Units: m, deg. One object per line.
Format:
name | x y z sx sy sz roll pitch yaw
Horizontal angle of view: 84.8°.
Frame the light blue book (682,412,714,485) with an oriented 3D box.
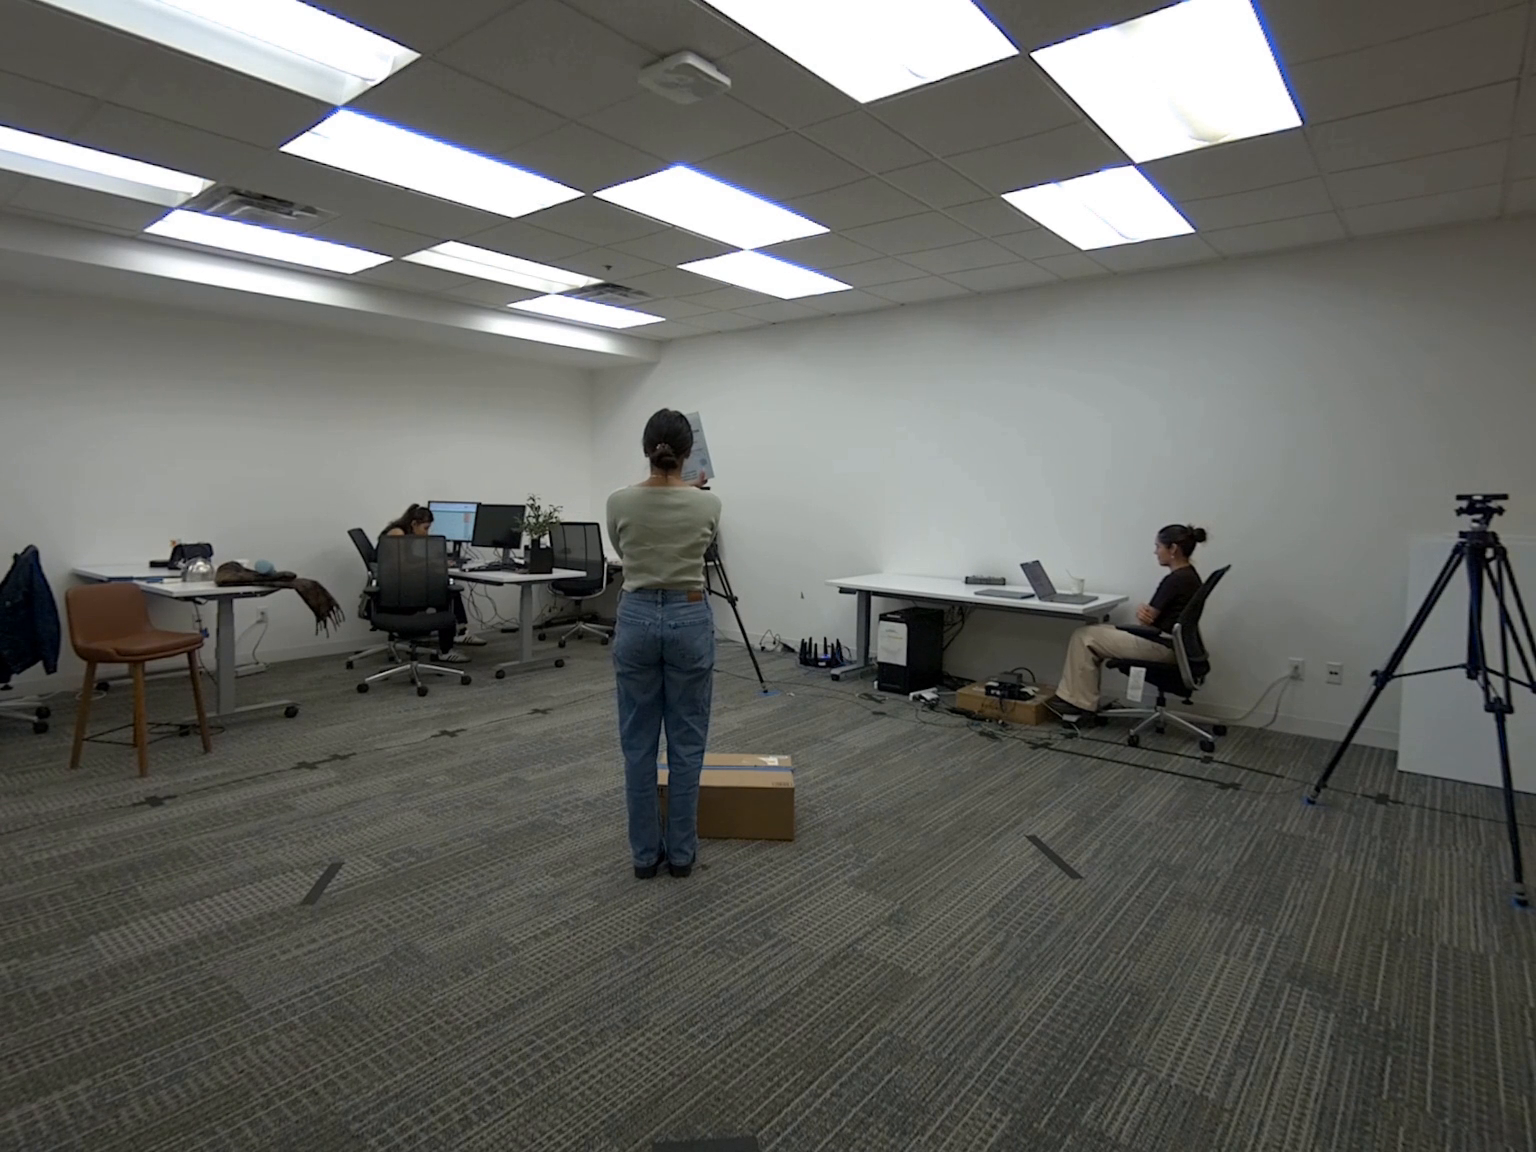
light blue book | -0.340 -0.483 3.272 0.190 0.260 0.060 -14 3 -9
